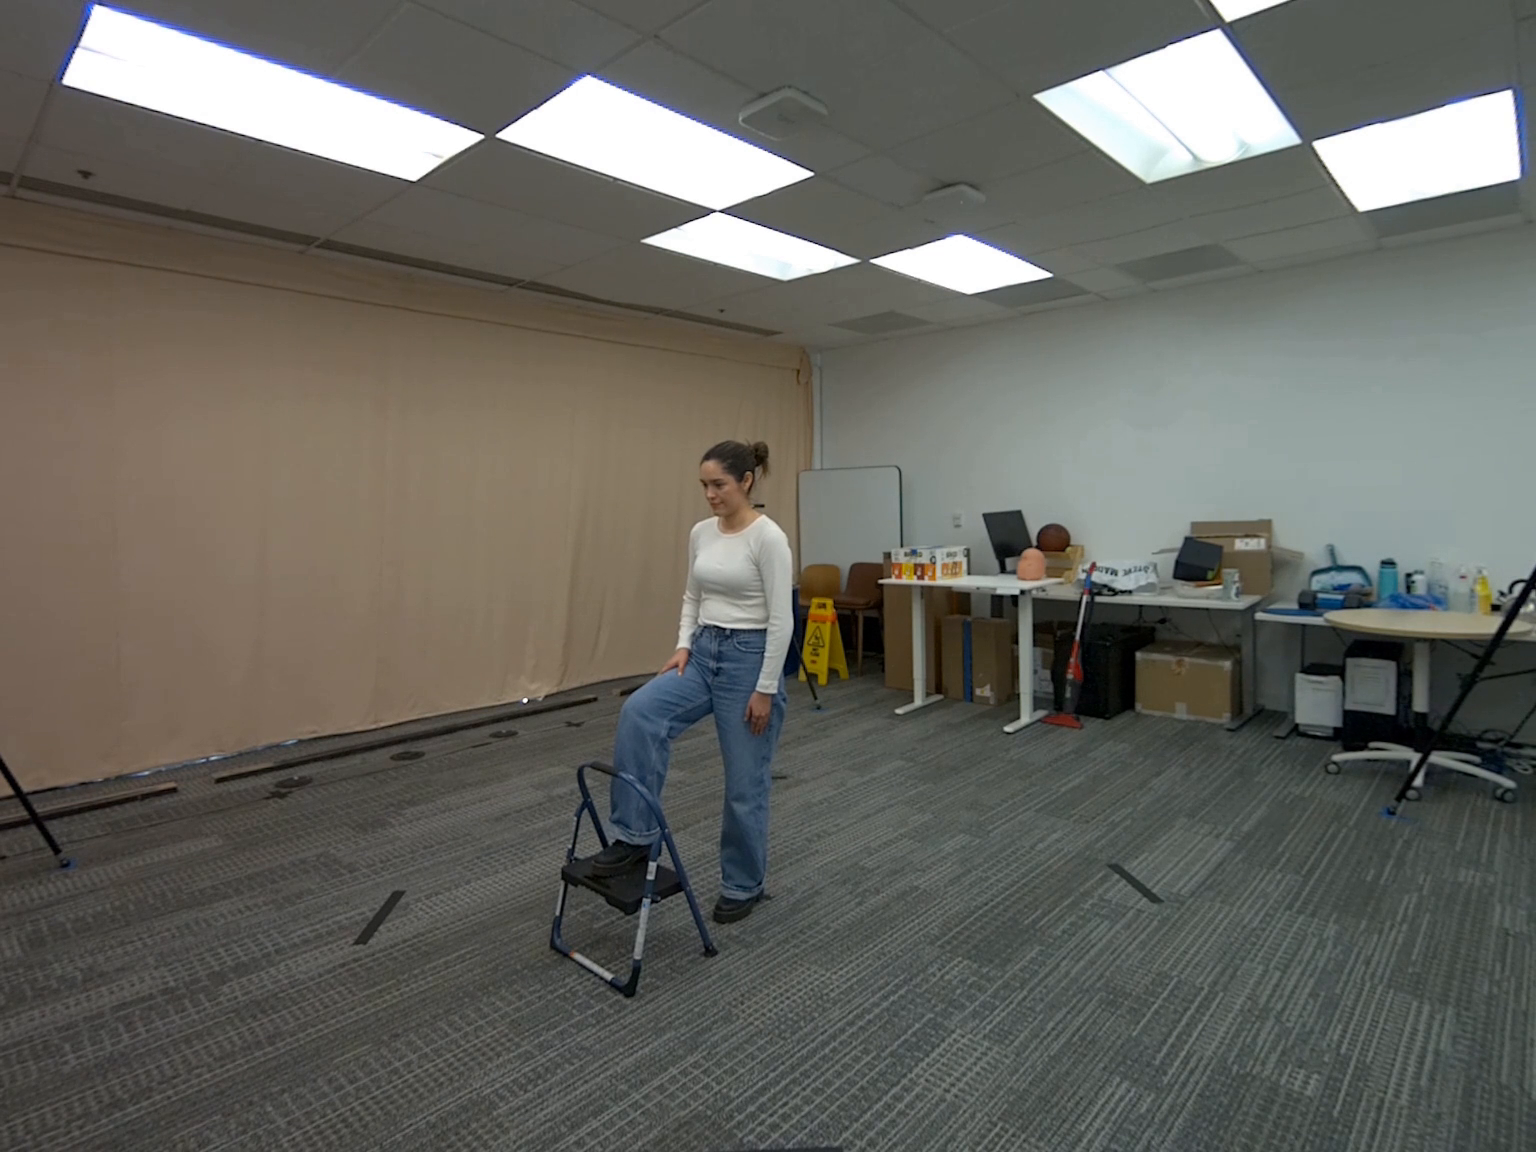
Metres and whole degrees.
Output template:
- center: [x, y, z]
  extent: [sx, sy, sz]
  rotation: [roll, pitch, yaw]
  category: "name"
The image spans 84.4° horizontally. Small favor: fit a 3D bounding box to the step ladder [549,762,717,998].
- center: [-0.433, 0.878, 2.631]
  extent: [0.445, 0.605, 0.339]
  rotation: [2, 4, 43]
  category: "step ladder"
